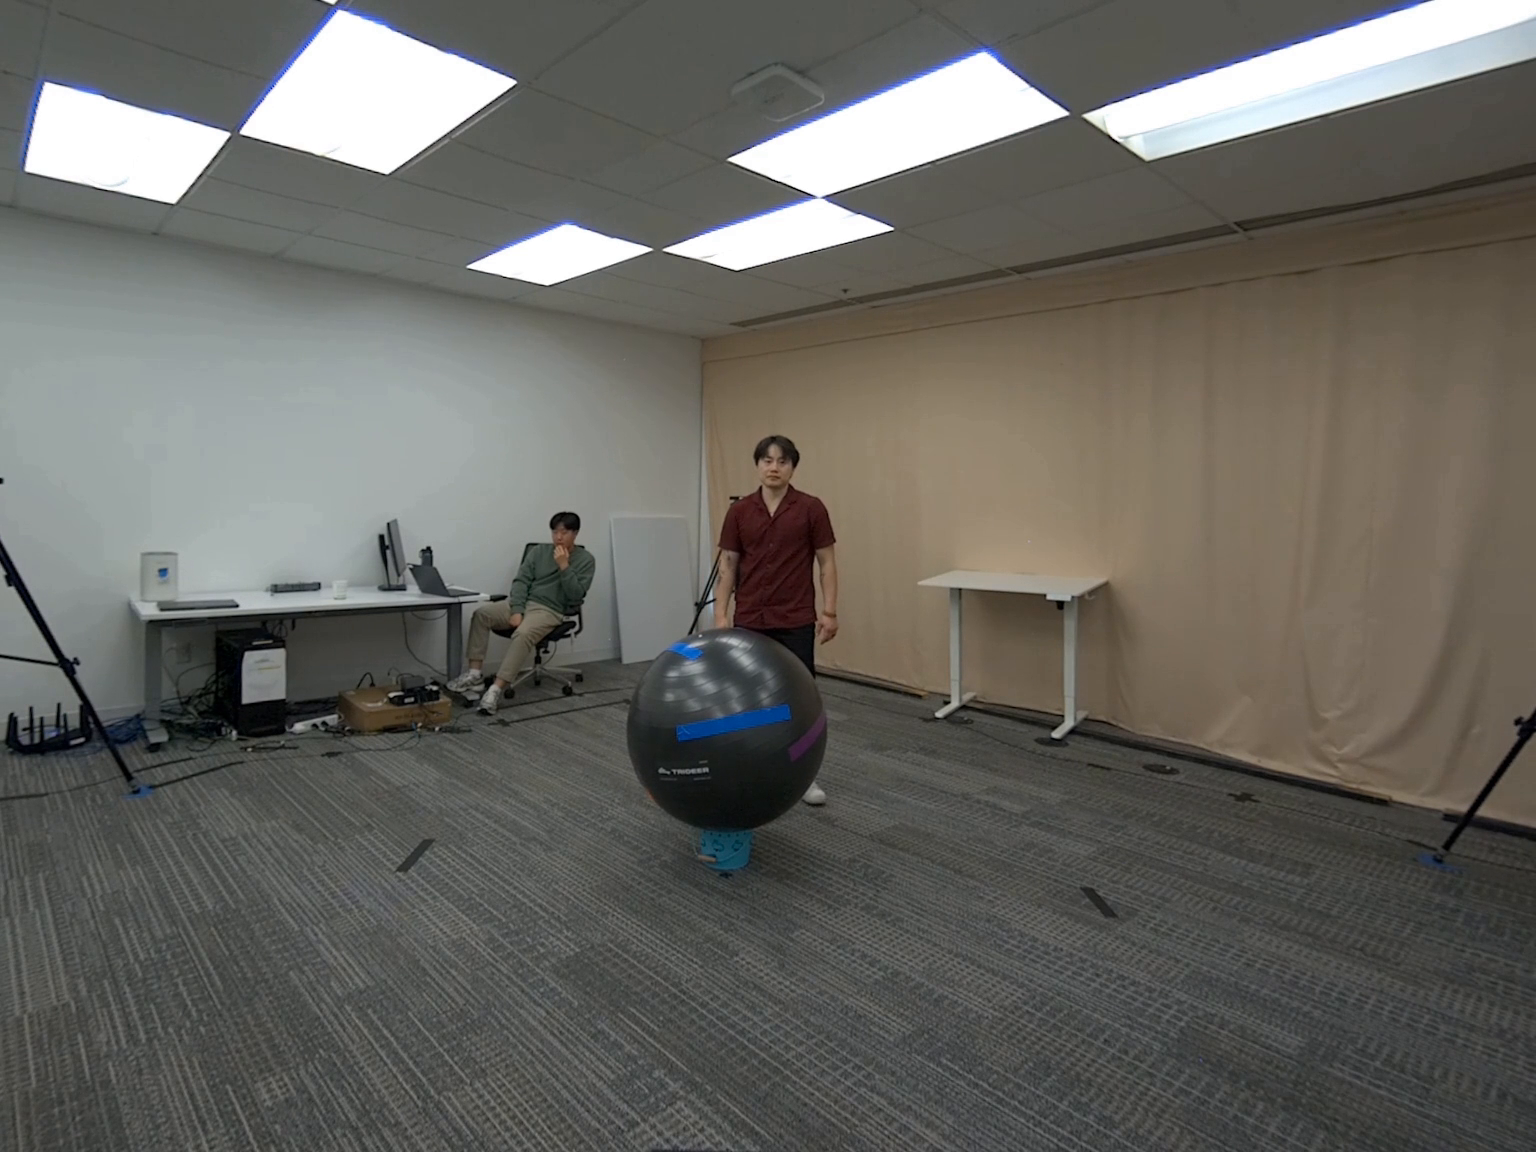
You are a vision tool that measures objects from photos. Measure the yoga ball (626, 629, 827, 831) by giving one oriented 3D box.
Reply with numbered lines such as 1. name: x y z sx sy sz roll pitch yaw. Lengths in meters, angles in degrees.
1. yoga ball: -0.163 0.584 3.207 0.757 0.756 0.761 1 4 -1
